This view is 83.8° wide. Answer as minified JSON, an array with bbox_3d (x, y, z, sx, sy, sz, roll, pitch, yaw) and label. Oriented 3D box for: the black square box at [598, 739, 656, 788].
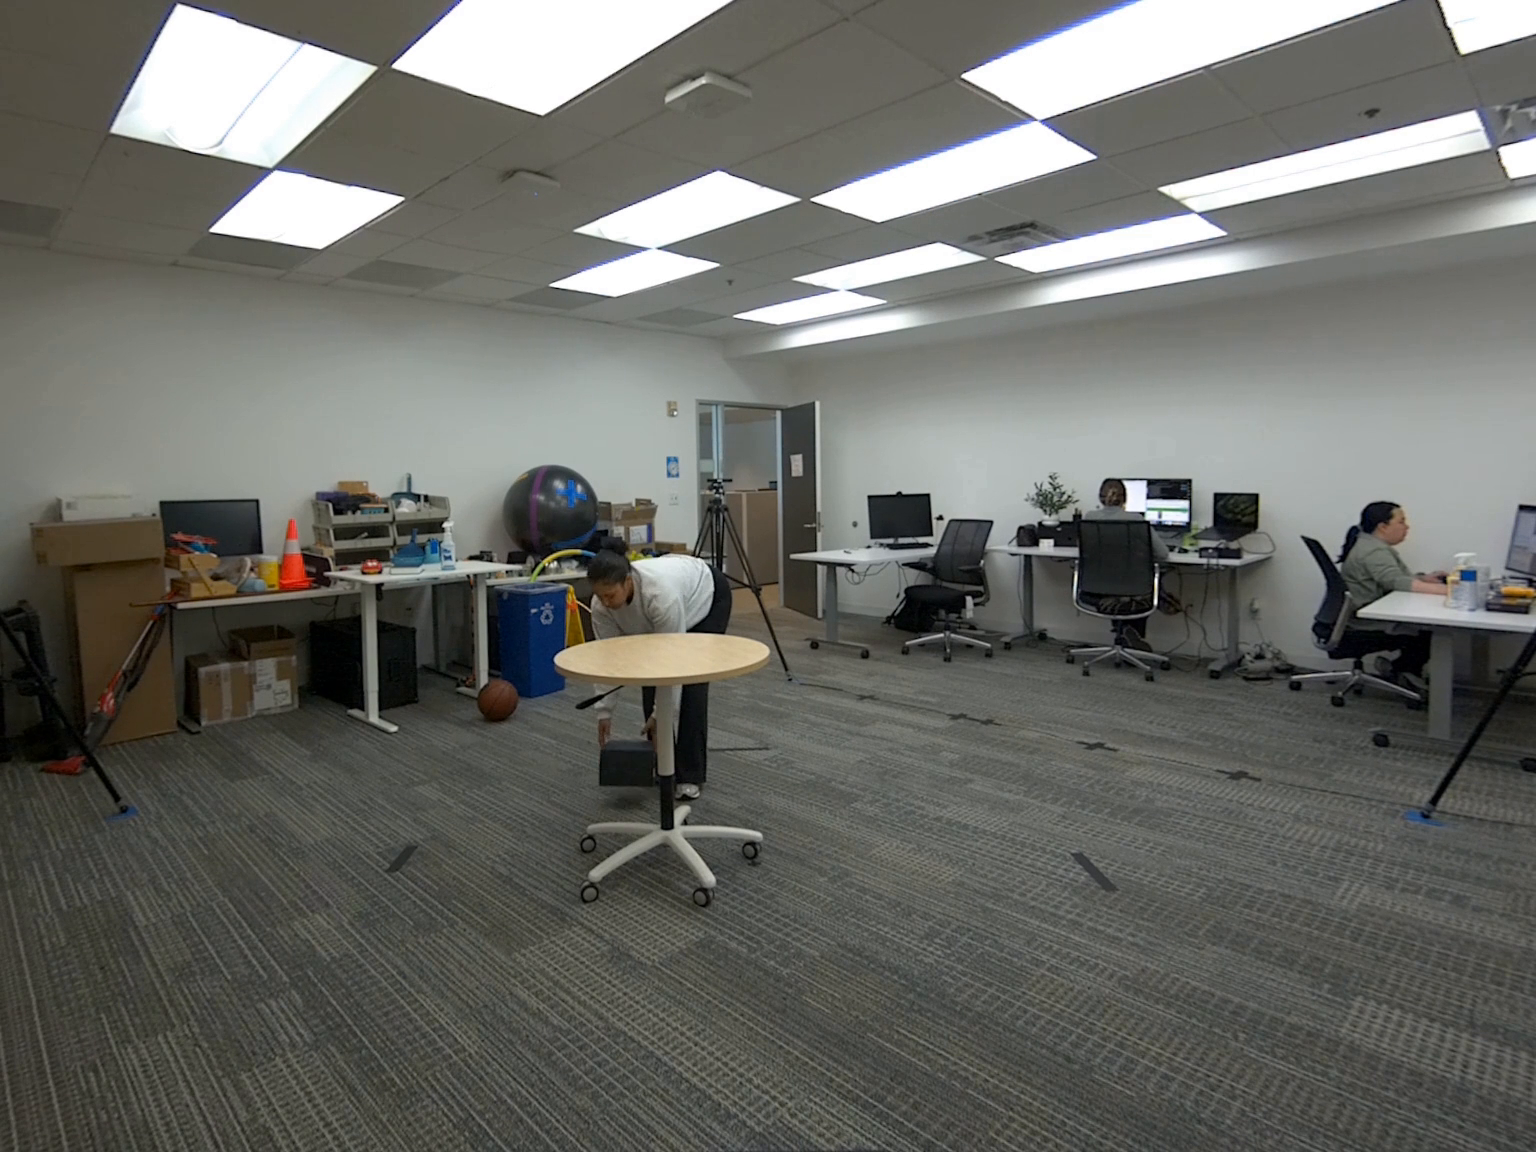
[{"bbox_3d":[-0.604,0.795,3.729,0.228,0.156,0.216,0,-1,1],"label":"black square box"}]
